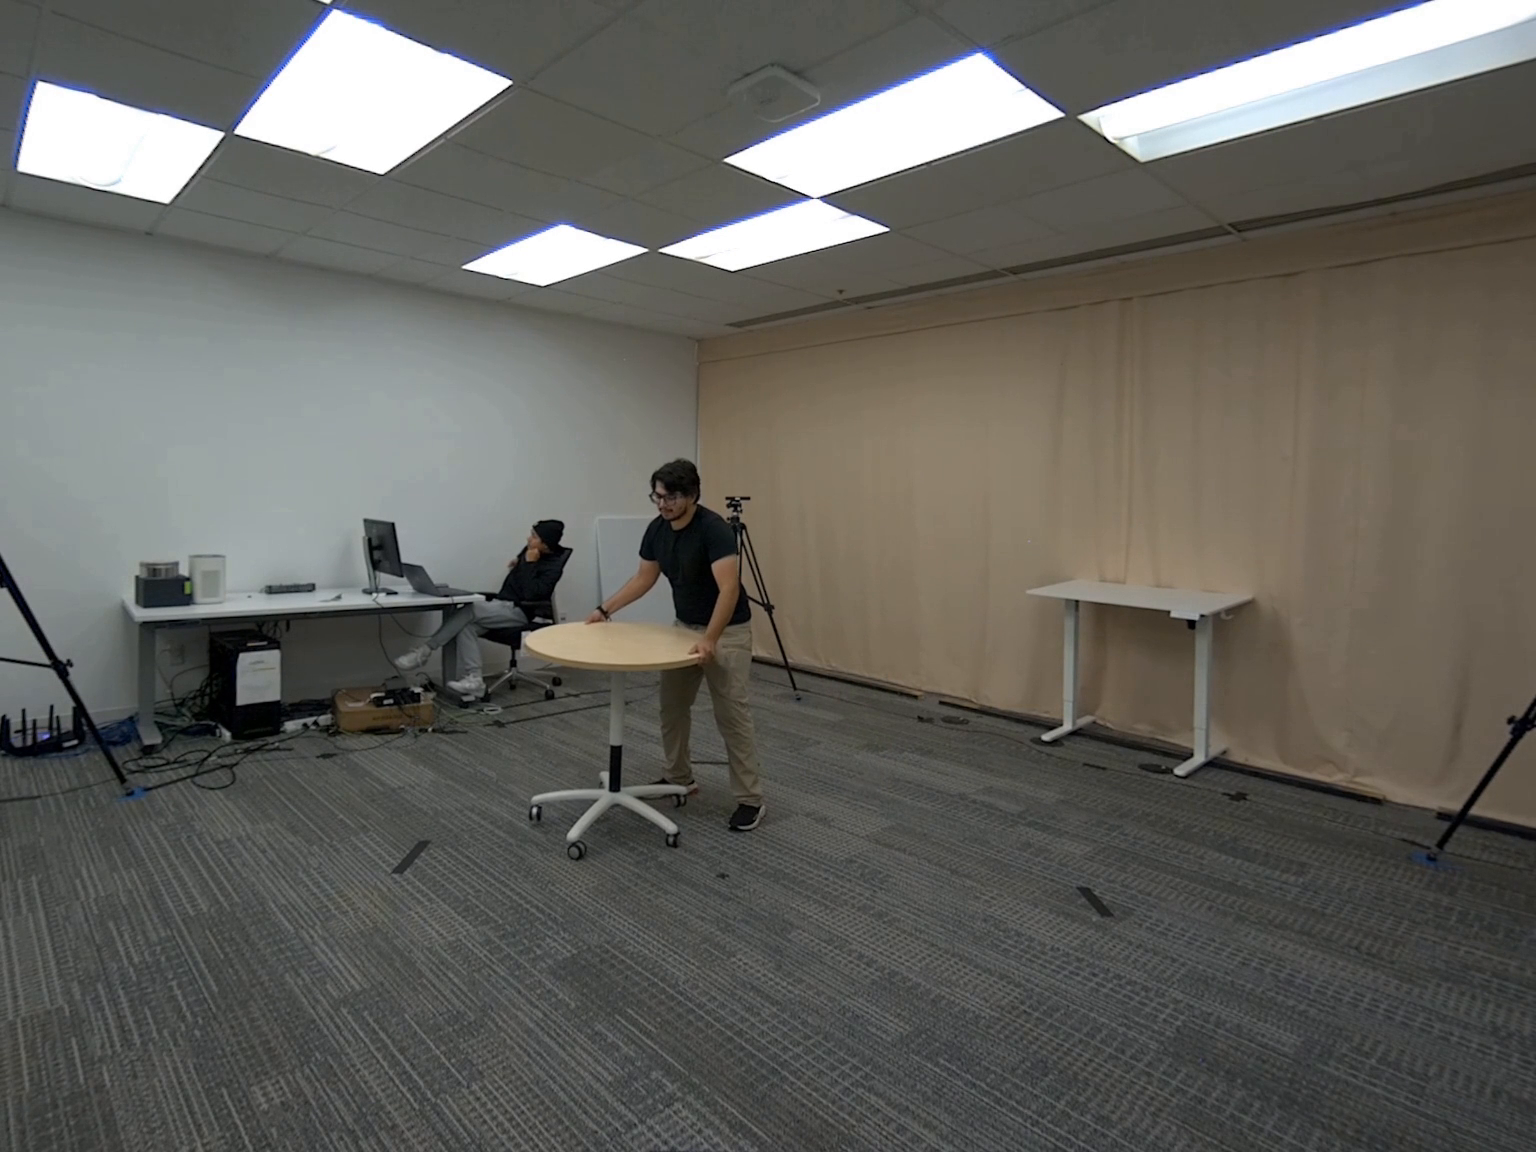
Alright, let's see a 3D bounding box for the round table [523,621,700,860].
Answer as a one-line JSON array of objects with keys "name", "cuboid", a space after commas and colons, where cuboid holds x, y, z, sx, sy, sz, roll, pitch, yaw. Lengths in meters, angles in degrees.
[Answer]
[{"name": "round table", "cuboid": [-0.645, 0.651, 3.492, 0.784, 0.783, 0.789, 3, 6, -2]}]
